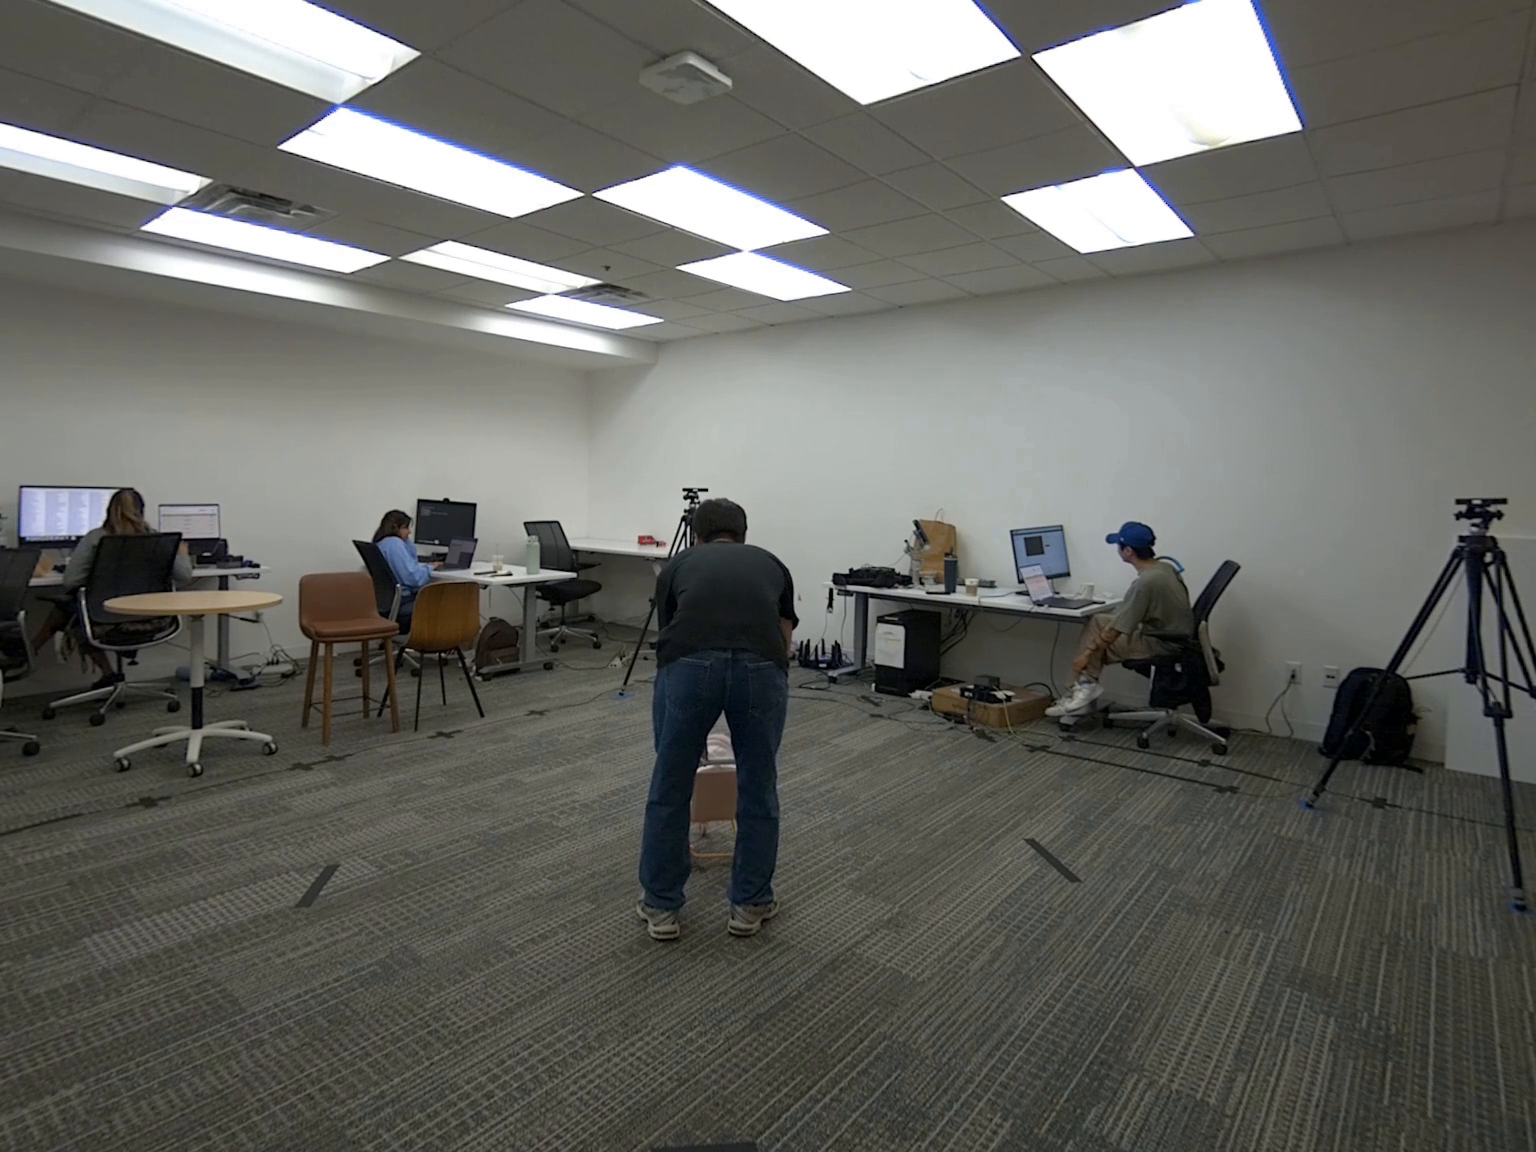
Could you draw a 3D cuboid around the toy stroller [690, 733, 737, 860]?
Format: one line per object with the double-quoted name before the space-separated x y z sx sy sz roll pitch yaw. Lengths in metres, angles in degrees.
"toy stroller" -0.221 0.824 3.218 0.279 0.526 0.350 1 19 -10
